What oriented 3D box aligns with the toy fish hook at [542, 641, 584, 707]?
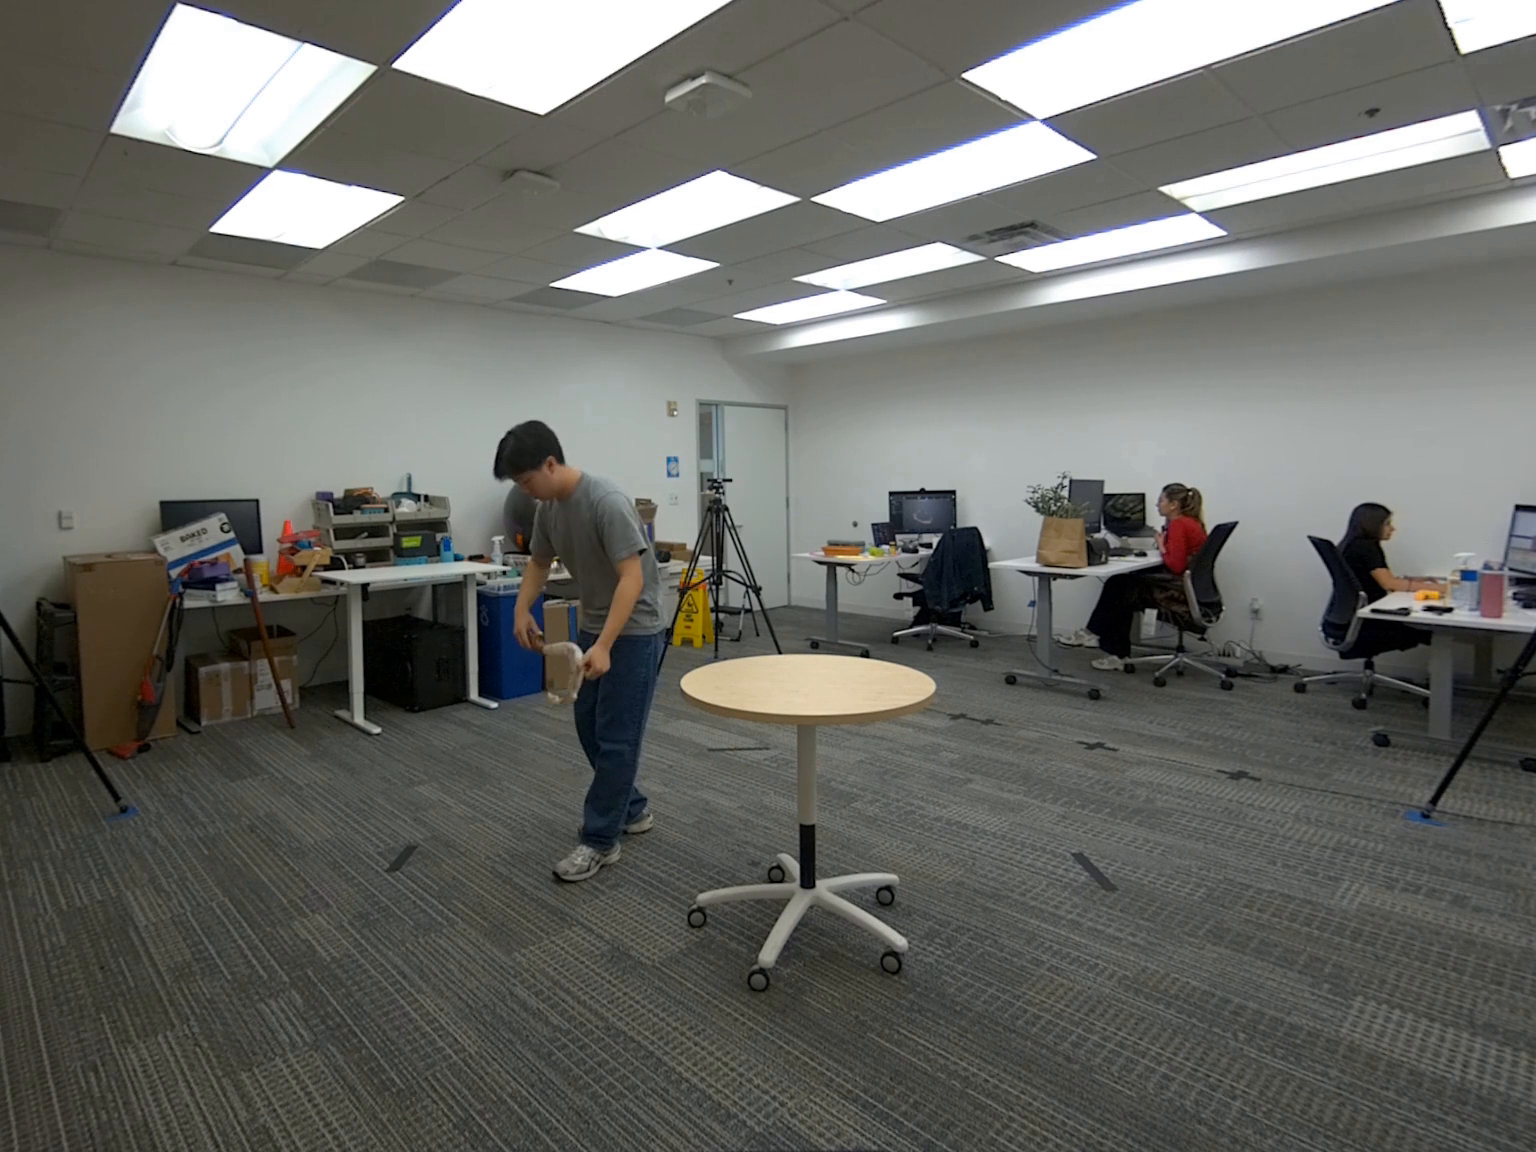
[{"bbox_3d":[-0.774,0.322,2.978,0.047,0.225,0.523,19,-4,-36],"label":"toy fish hook"}]
